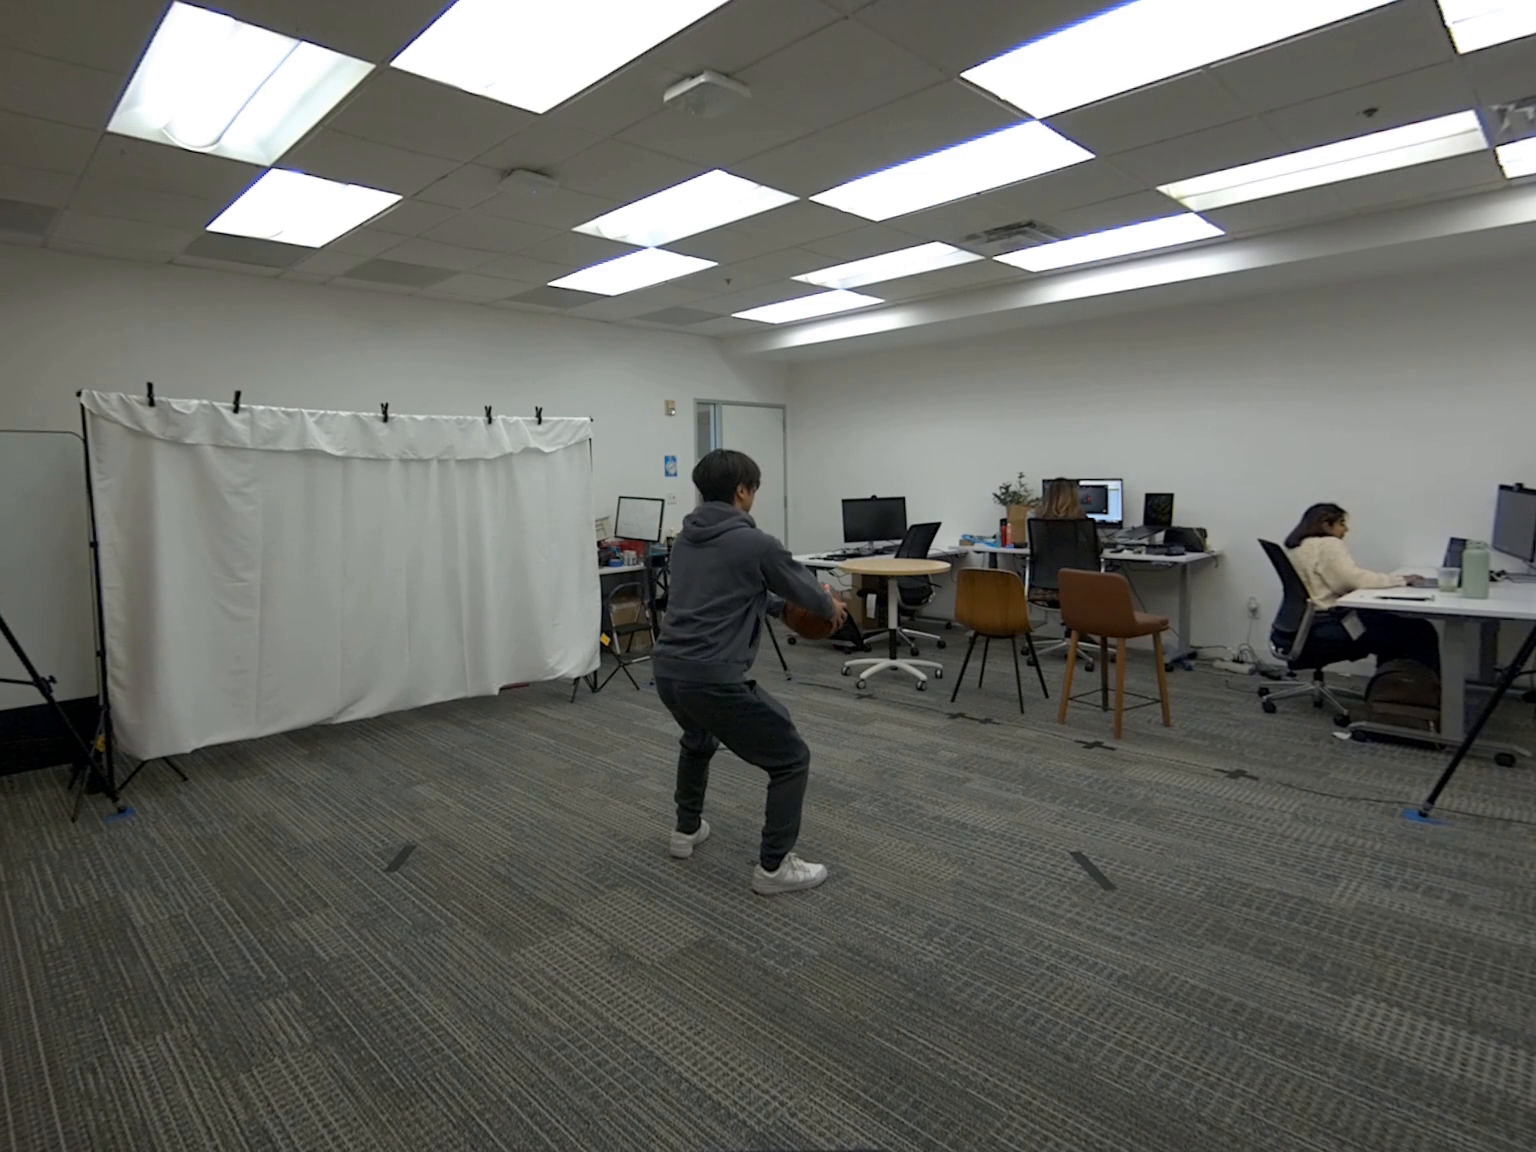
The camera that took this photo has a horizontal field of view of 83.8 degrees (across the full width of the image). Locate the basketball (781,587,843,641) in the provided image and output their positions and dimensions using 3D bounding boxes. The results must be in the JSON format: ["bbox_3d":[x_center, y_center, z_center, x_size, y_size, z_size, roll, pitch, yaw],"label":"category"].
[{"bbox_3d":[0.188,0.146,3.455,0.236,0.235,0.237,-1,5,-2],"label":"basketball"}]
